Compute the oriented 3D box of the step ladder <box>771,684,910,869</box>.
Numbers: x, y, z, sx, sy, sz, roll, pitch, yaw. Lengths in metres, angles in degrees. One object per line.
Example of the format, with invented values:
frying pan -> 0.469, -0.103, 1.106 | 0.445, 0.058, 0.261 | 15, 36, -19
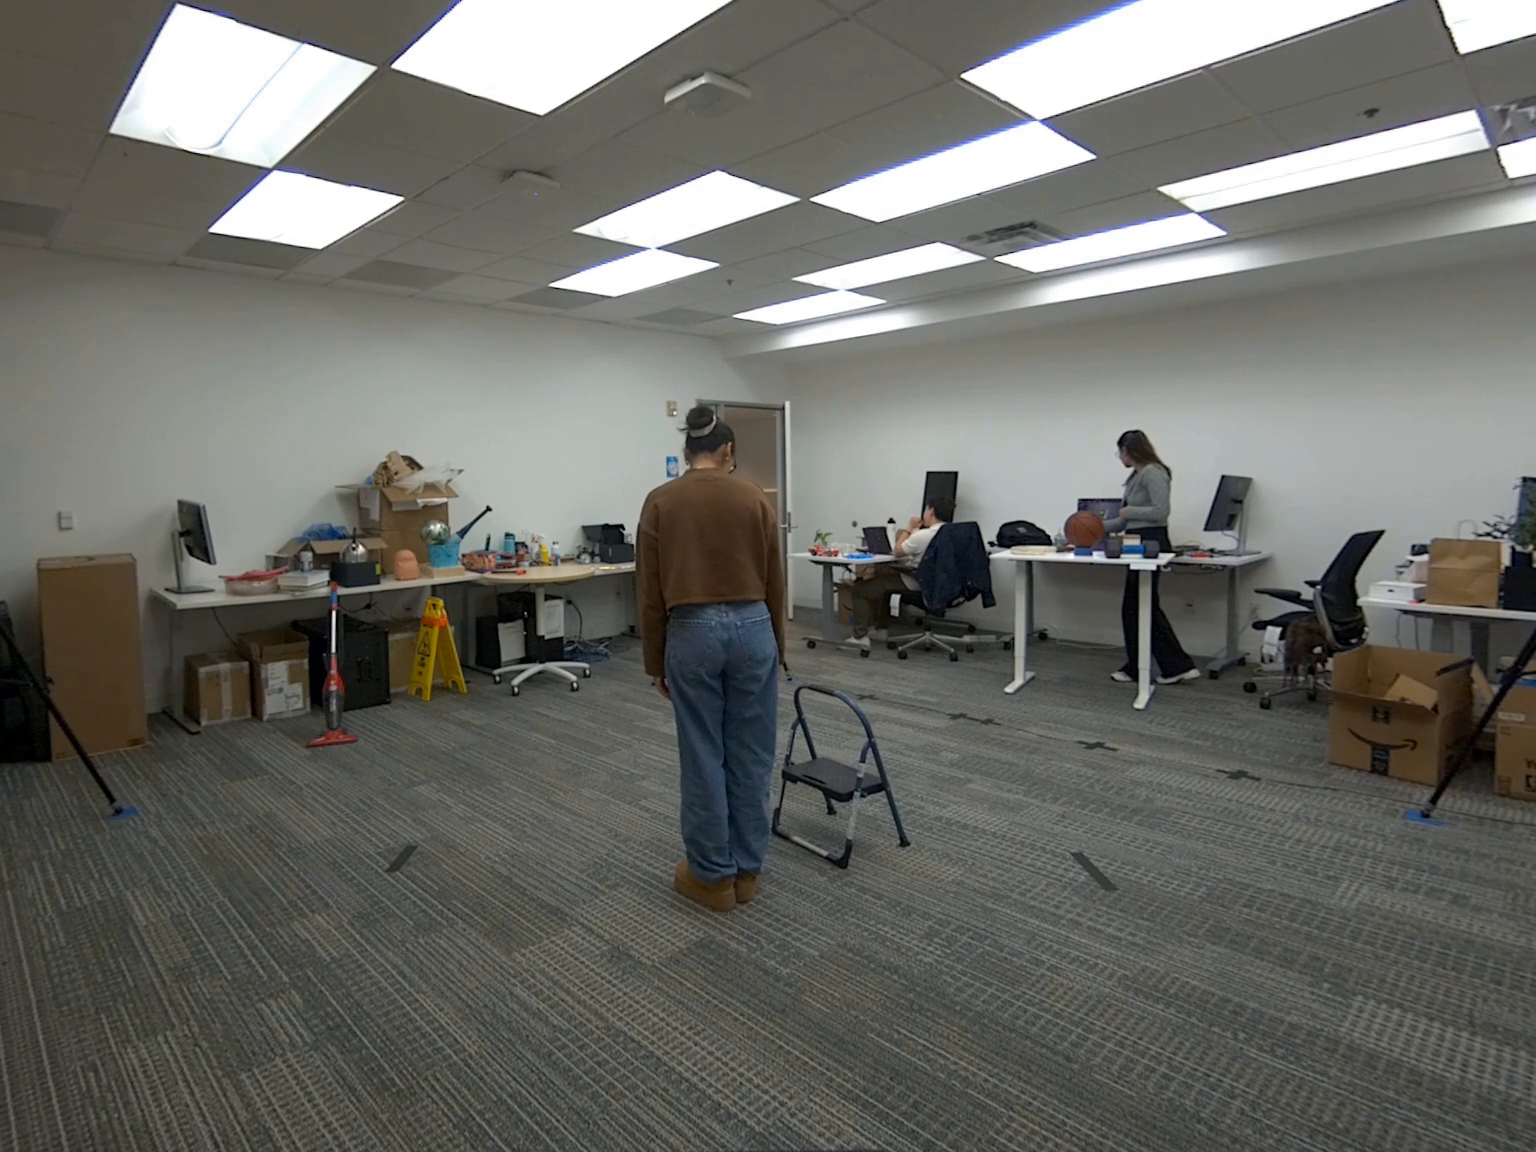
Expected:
step ladder -> 0.268, 0.713, 3.289 | 0.340, 0.603, 0.444 | -5, 6, -38
